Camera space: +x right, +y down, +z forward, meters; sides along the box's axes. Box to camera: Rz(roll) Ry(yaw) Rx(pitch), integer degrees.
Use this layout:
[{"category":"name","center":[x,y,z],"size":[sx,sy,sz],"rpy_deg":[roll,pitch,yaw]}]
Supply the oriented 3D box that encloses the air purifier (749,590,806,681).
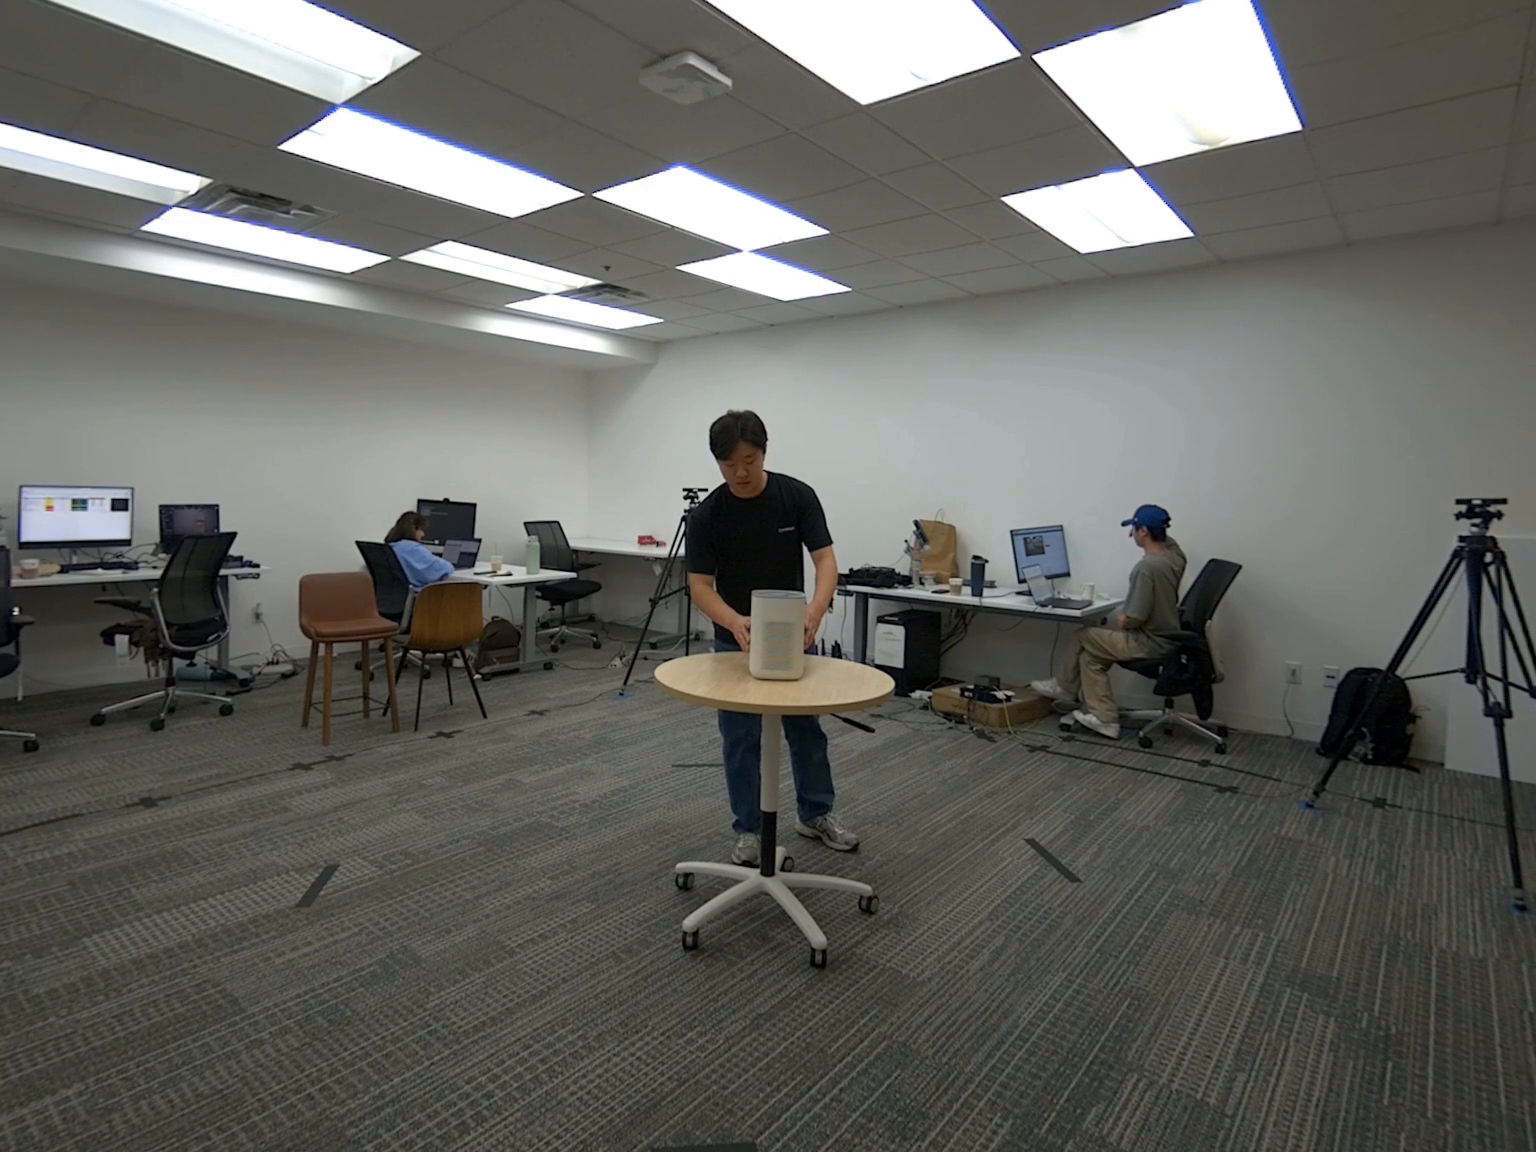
[{"category":"air purifier","center":[0.026,0.185,2.720],"size":[0.172,0.264,0.171],"rpy_deg":[2,4,2]}]
